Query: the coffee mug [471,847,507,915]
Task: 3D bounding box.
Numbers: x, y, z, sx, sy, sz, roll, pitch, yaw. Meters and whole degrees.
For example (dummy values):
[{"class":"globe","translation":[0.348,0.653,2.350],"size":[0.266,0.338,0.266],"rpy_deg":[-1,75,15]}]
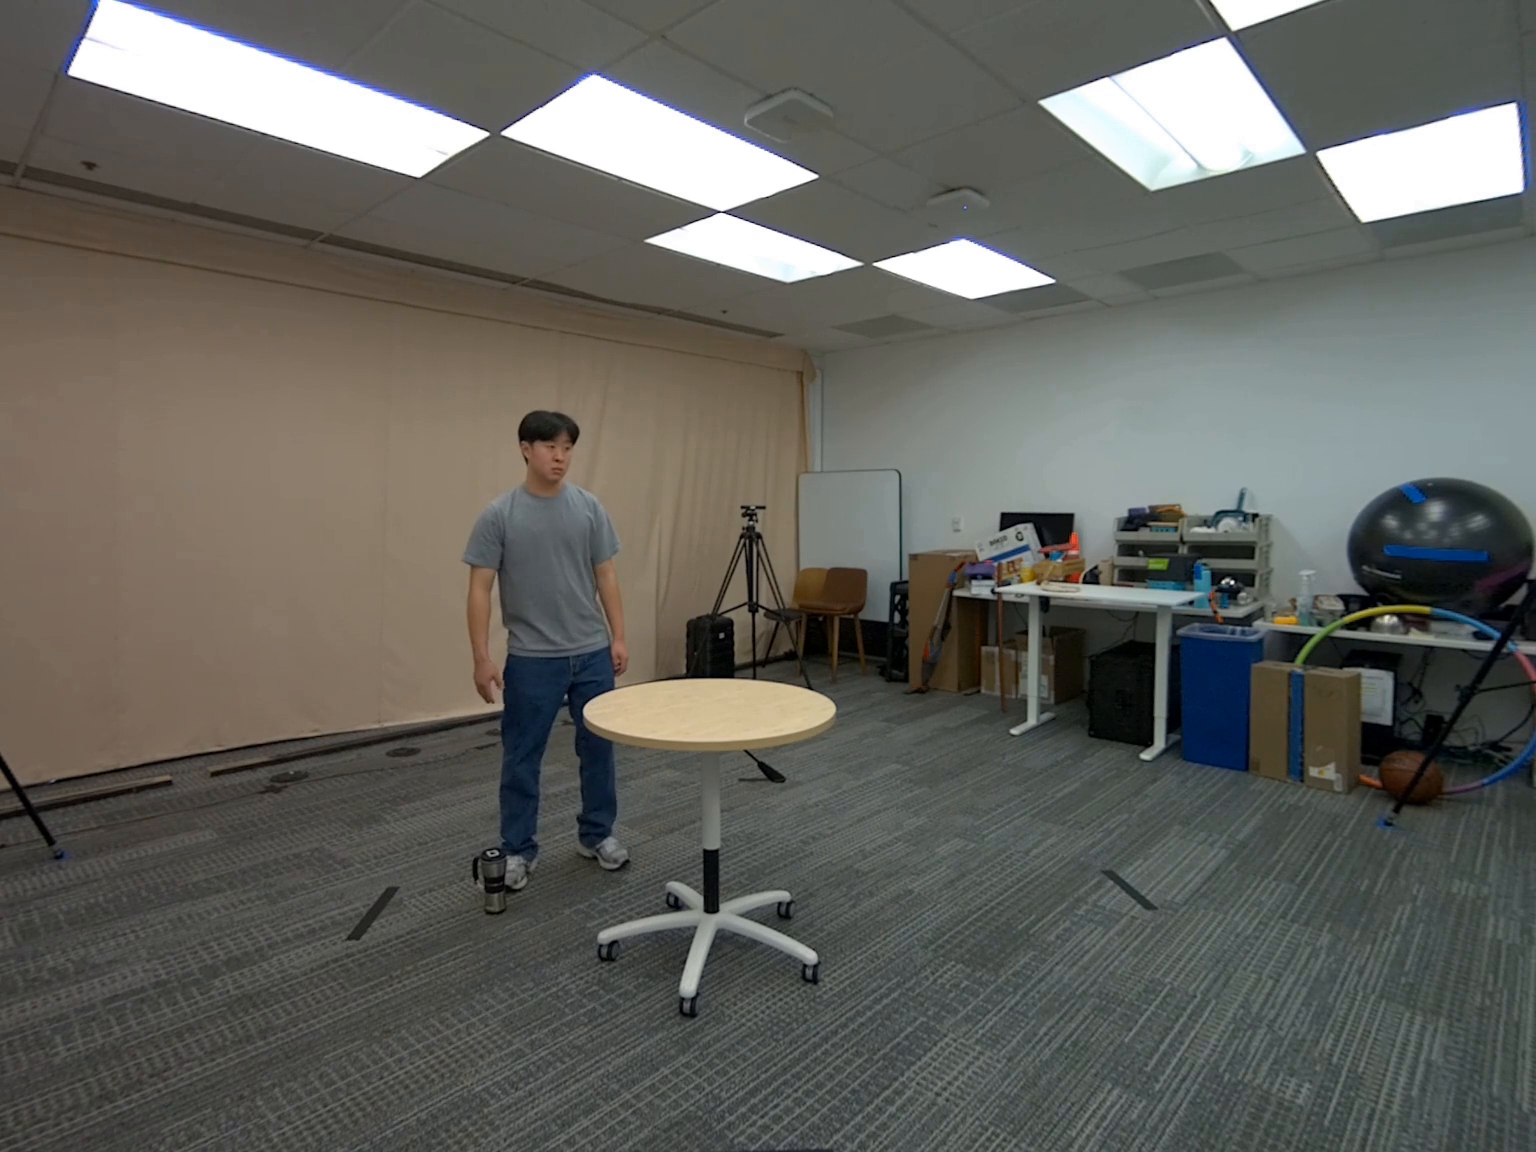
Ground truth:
[{"class":"coffee mug","translation":[-0.962,1.062,2.922],"size":[0.126,0.202,0.085],"rpy_deg":[7,12,43]}]
